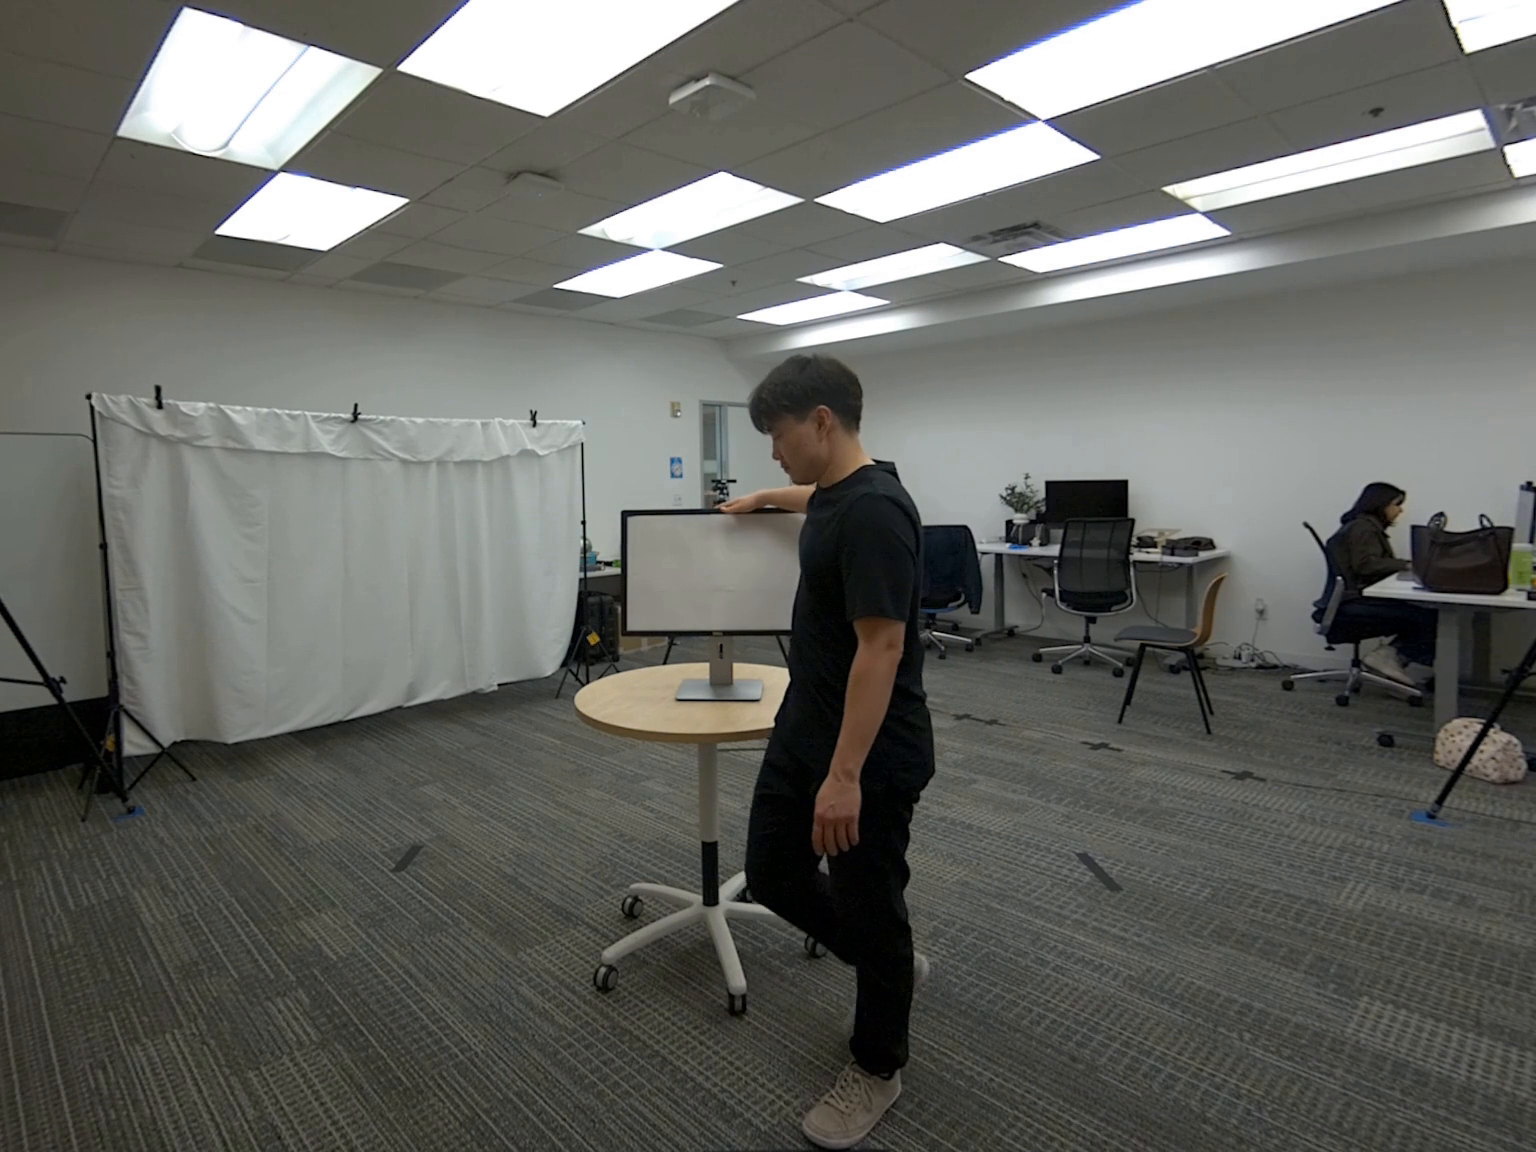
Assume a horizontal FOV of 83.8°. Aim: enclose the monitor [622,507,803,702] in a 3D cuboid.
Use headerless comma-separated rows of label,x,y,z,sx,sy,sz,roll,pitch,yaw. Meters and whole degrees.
monitor,-0.141,0.079,2.488,0.540,0.519,0.188,-1,6,2
